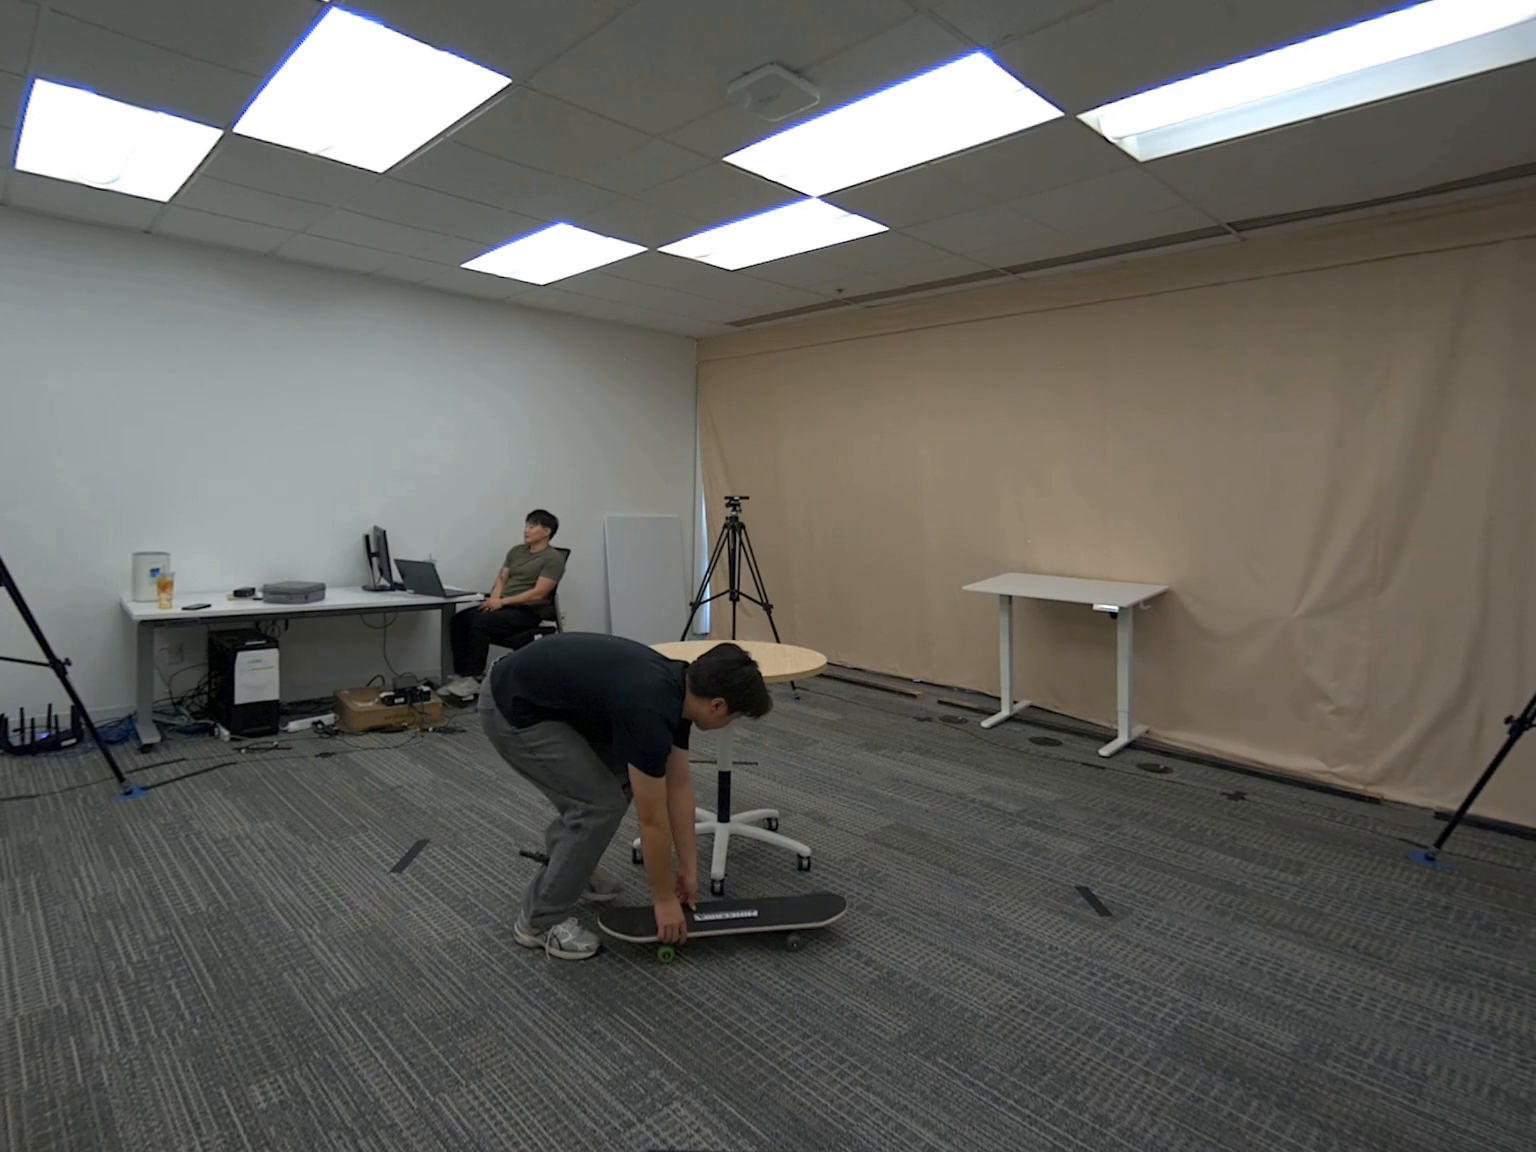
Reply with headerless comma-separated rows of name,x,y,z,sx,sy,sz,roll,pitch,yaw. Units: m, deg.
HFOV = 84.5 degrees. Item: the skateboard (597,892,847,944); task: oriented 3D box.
skateboard,-0.129,1.092,2.623,0.779,0.110,0.195,1,5,-10
